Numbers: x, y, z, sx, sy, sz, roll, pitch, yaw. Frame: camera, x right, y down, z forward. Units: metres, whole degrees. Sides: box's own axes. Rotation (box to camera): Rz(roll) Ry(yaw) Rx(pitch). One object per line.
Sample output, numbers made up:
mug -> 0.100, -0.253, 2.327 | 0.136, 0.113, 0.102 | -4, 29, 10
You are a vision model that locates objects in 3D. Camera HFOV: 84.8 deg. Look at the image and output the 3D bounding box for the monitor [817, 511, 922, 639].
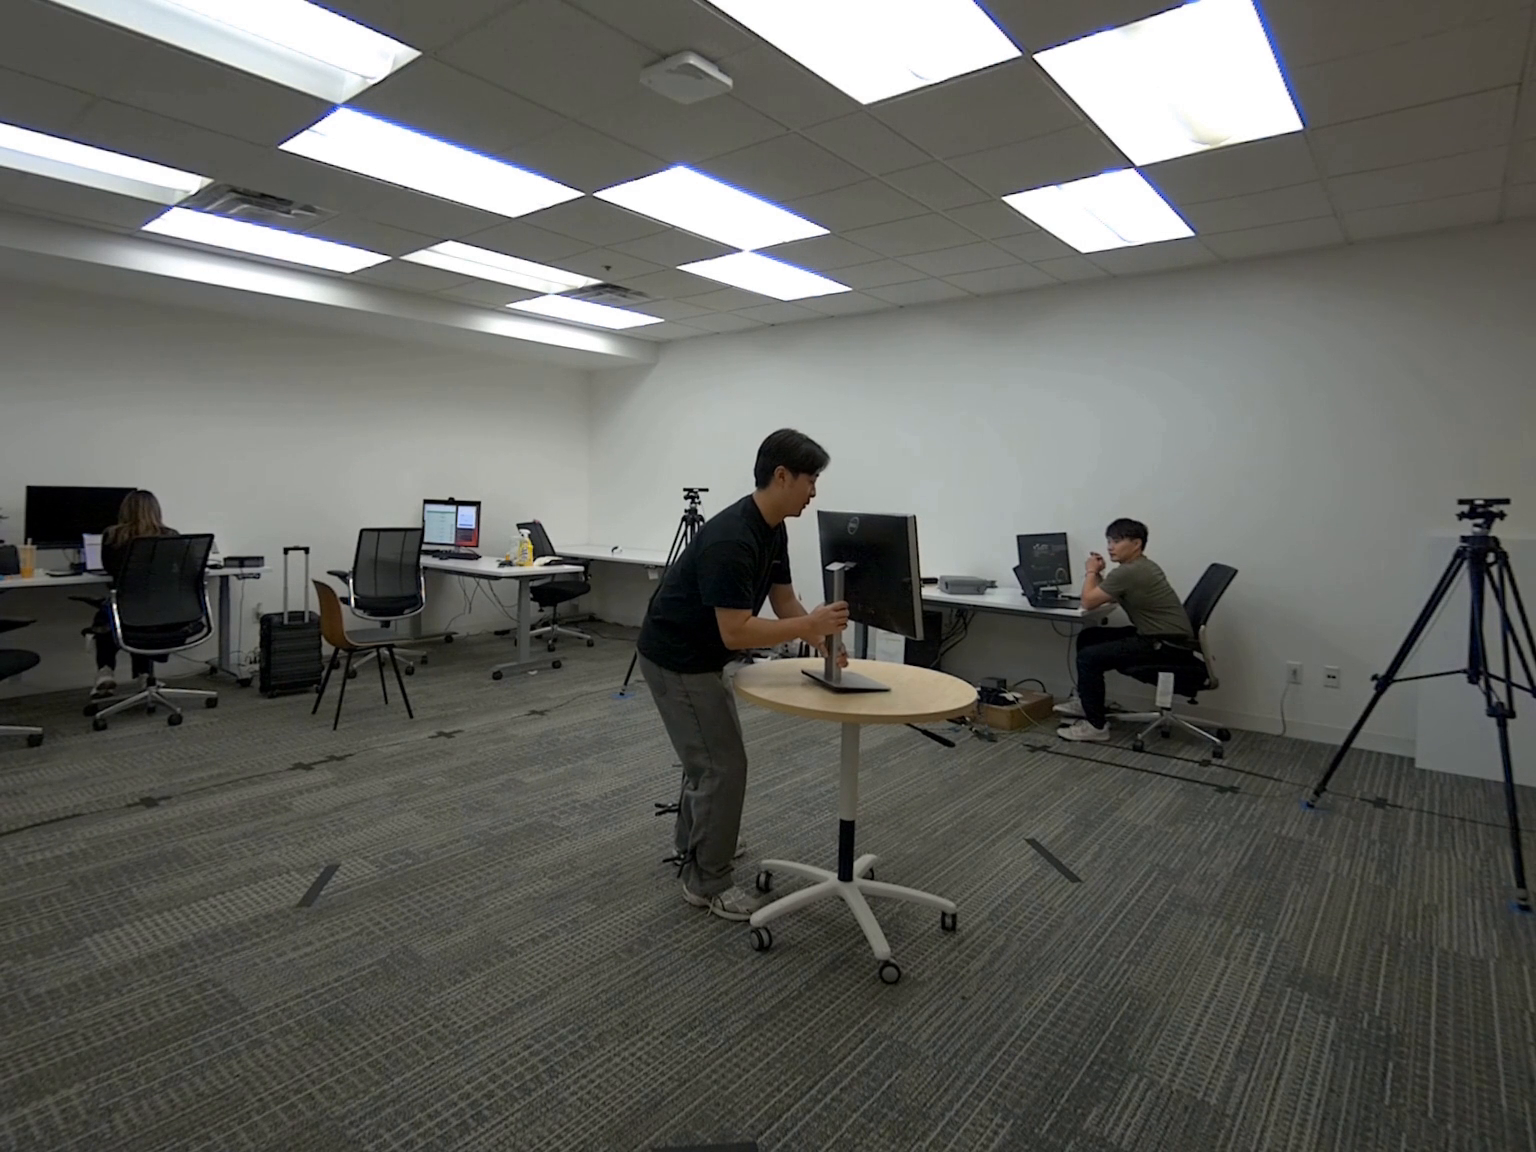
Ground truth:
monitor -> 0.269, 0.074, 2.668 | 0.217, 0.565, 0.575 | 7, 2, -21
